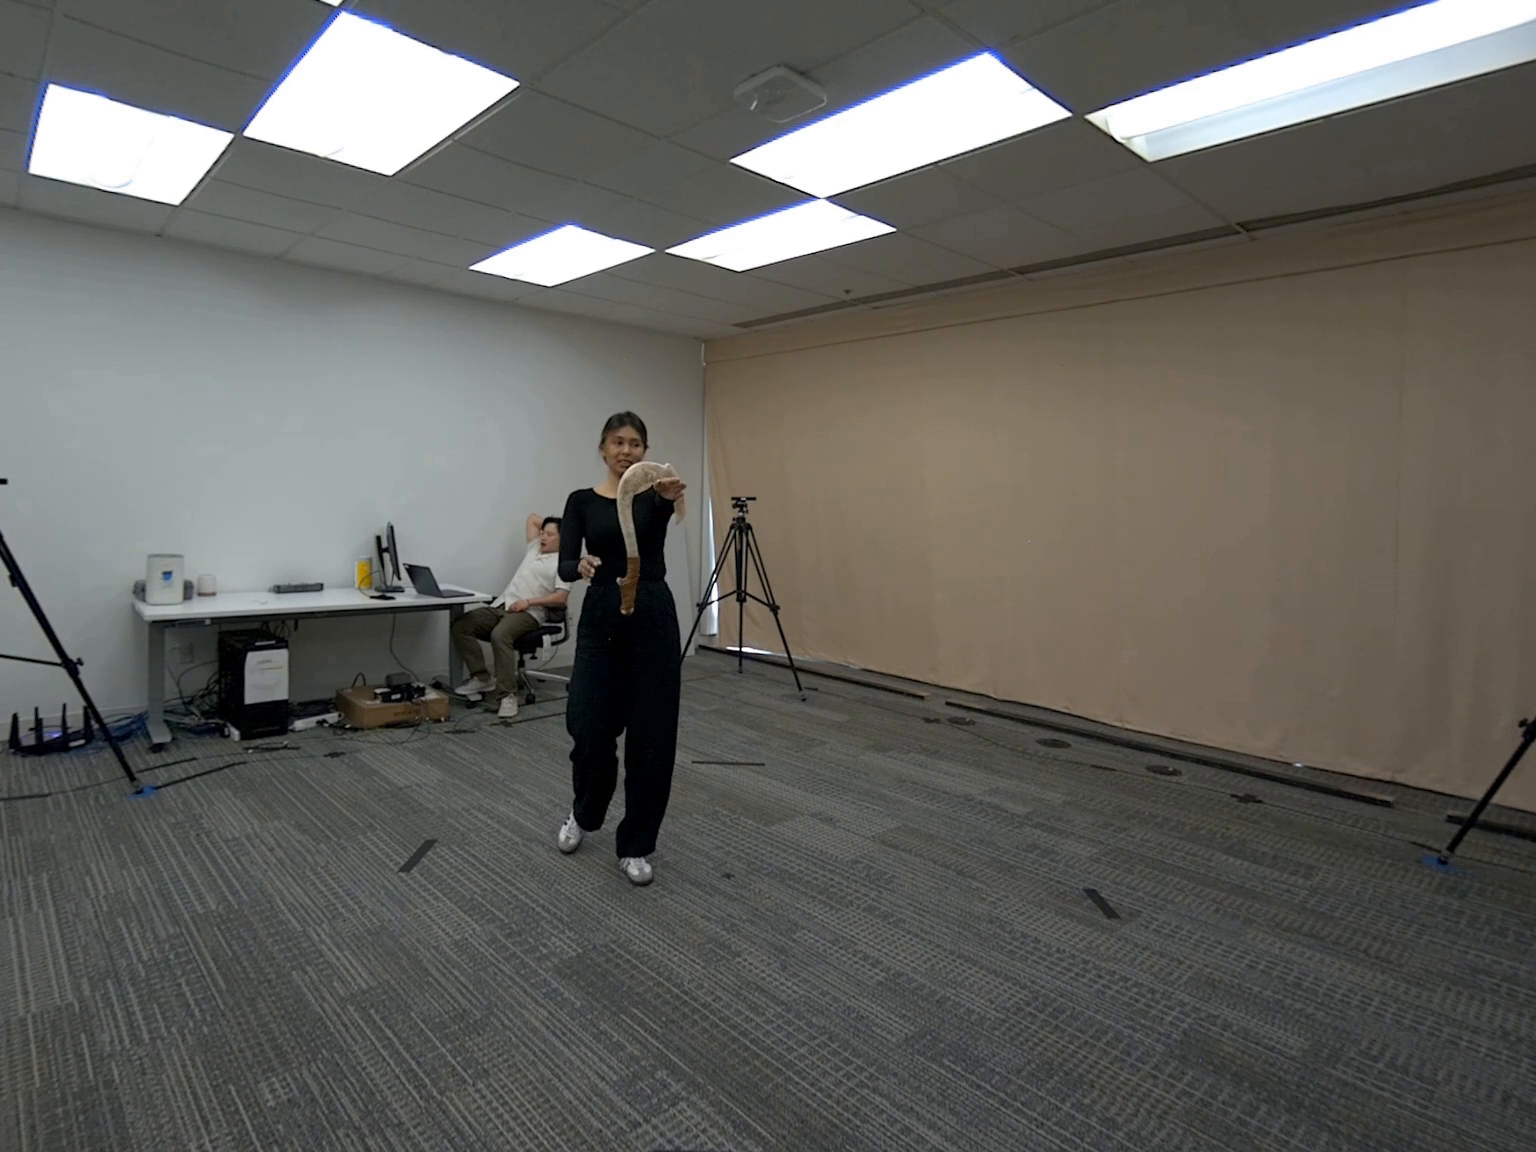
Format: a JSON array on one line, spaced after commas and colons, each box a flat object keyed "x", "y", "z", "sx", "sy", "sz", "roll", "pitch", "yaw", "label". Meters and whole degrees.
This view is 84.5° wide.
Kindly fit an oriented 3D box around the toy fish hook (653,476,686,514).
[{"x": -0.393, "y": -0.105, "z": 2.735, "sx": 0.223, "sy": 0.504, "sz": 0.049, "roll": 8, "pitch": 9, "yaw": -8, "label": "toy fish hook"}]
